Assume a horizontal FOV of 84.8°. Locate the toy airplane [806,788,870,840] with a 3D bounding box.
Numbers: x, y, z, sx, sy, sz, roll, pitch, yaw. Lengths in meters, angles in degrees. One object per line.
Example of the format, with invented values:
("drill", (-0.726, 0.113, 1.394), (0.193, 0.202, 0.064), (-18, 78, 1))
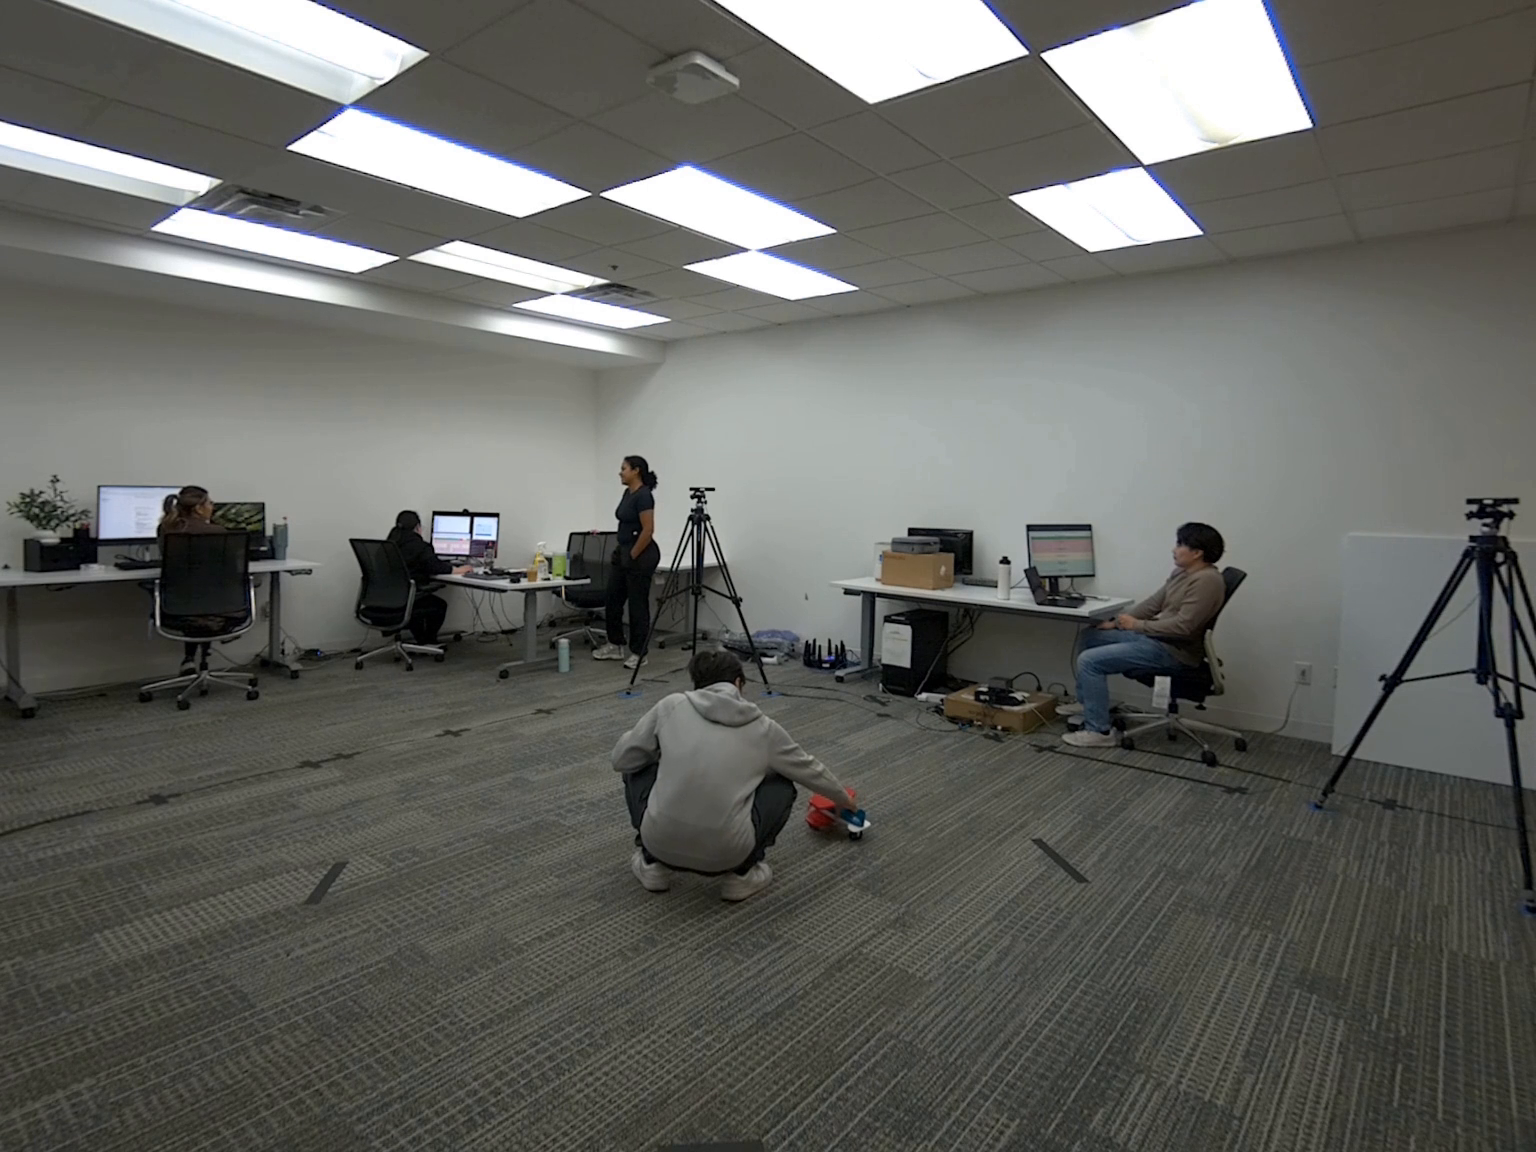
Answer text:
("toy airplane", (0.288, 0.965, 3.489), (0.263, 0.156, 0.248), (0, 4, 14))
